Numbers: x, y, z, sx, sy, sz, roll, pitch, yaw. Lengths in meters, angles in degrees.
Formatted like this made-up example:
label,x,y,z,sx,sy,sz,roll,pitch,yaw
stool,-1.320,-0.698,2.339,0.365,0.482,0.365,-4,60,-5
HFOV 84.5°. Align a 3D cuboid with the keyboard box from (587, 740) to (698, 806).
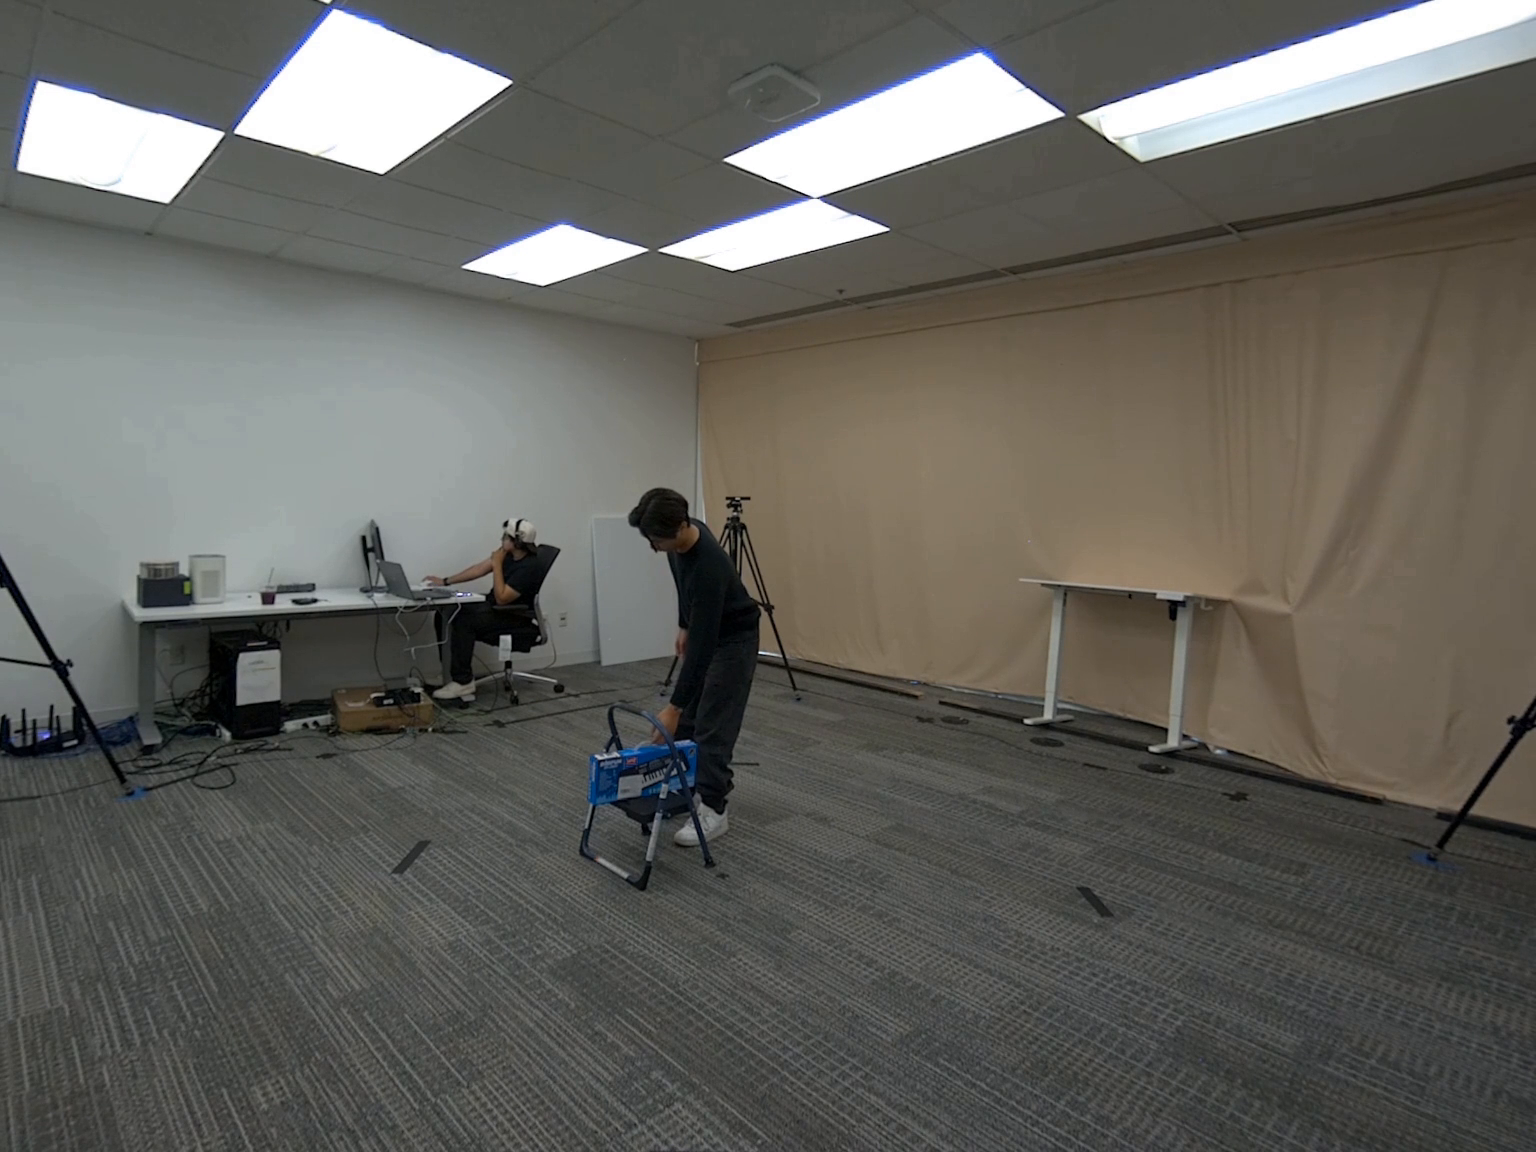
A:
label,x,y,z,sx,sy,sz,roll,pitch,yaw
keyboard box,-0.472,0.741,3.186,0.427,0.175,0.061,-1,7,-38
